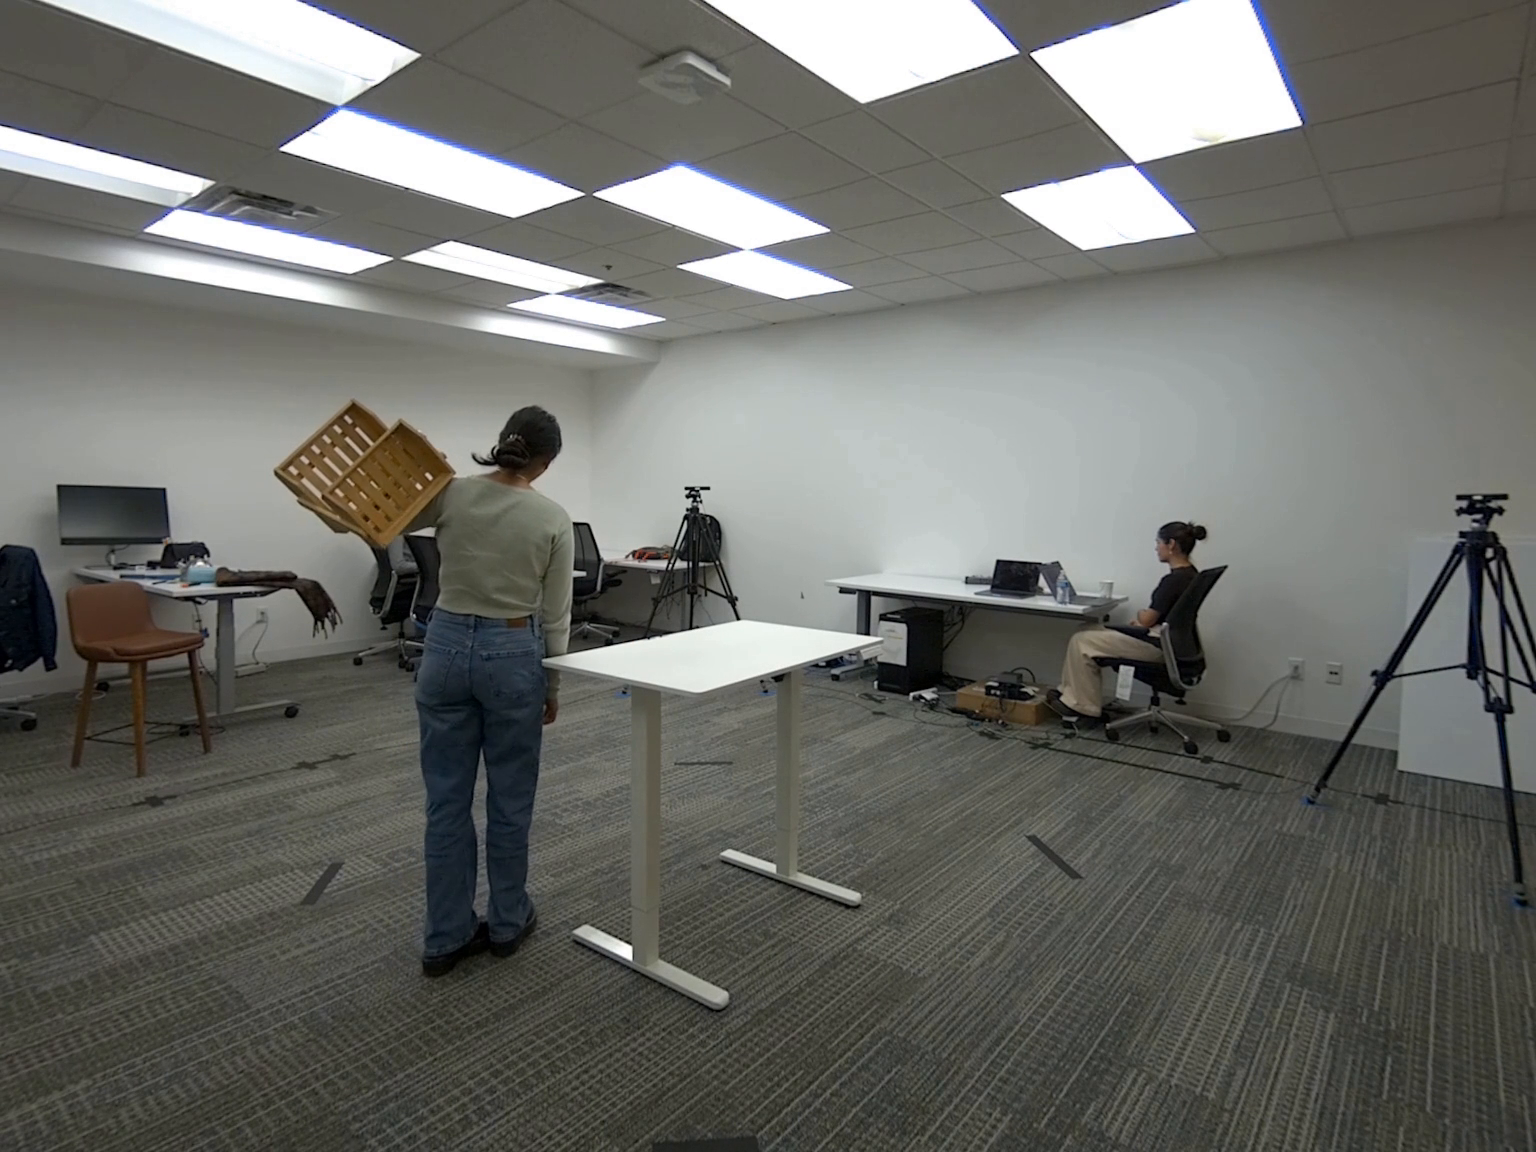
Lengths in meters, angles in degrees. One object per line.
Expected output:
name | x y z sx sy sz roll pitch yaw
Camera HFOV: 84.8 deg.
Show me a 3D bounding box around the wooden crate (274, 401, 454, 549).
wooden crate | -1.143 -0.297 2.390 0.283 0.326 0.290 5 -39 44
